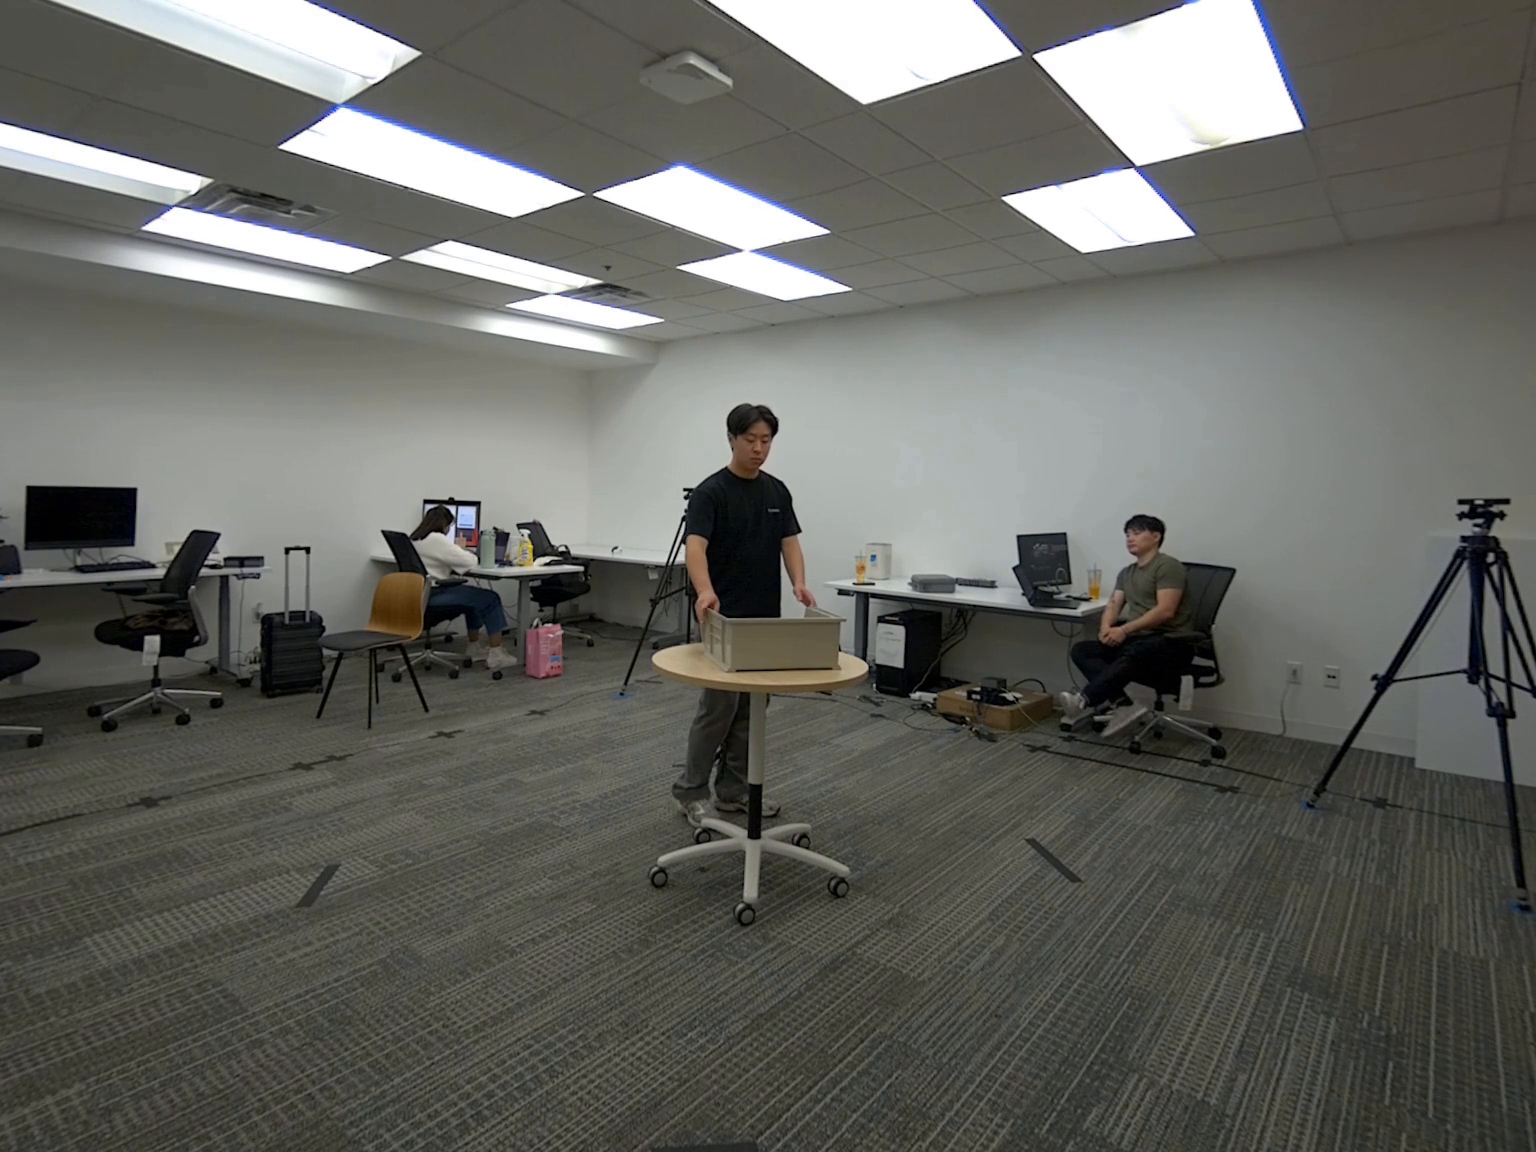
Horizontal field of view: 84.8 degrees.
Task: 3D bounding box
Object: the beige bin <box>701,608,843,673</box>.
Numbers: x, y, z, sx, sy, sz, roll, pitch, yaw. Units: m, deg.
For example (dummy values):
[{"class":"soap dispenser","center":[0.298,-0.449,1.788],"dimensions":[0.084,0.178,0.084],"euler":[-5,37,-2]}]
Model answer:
[{"class":"beige bin","center":[0.000,0.210,3.029],"dimensions":[0.415,0.188,0.385],"euler":[1,6,-17]}]
